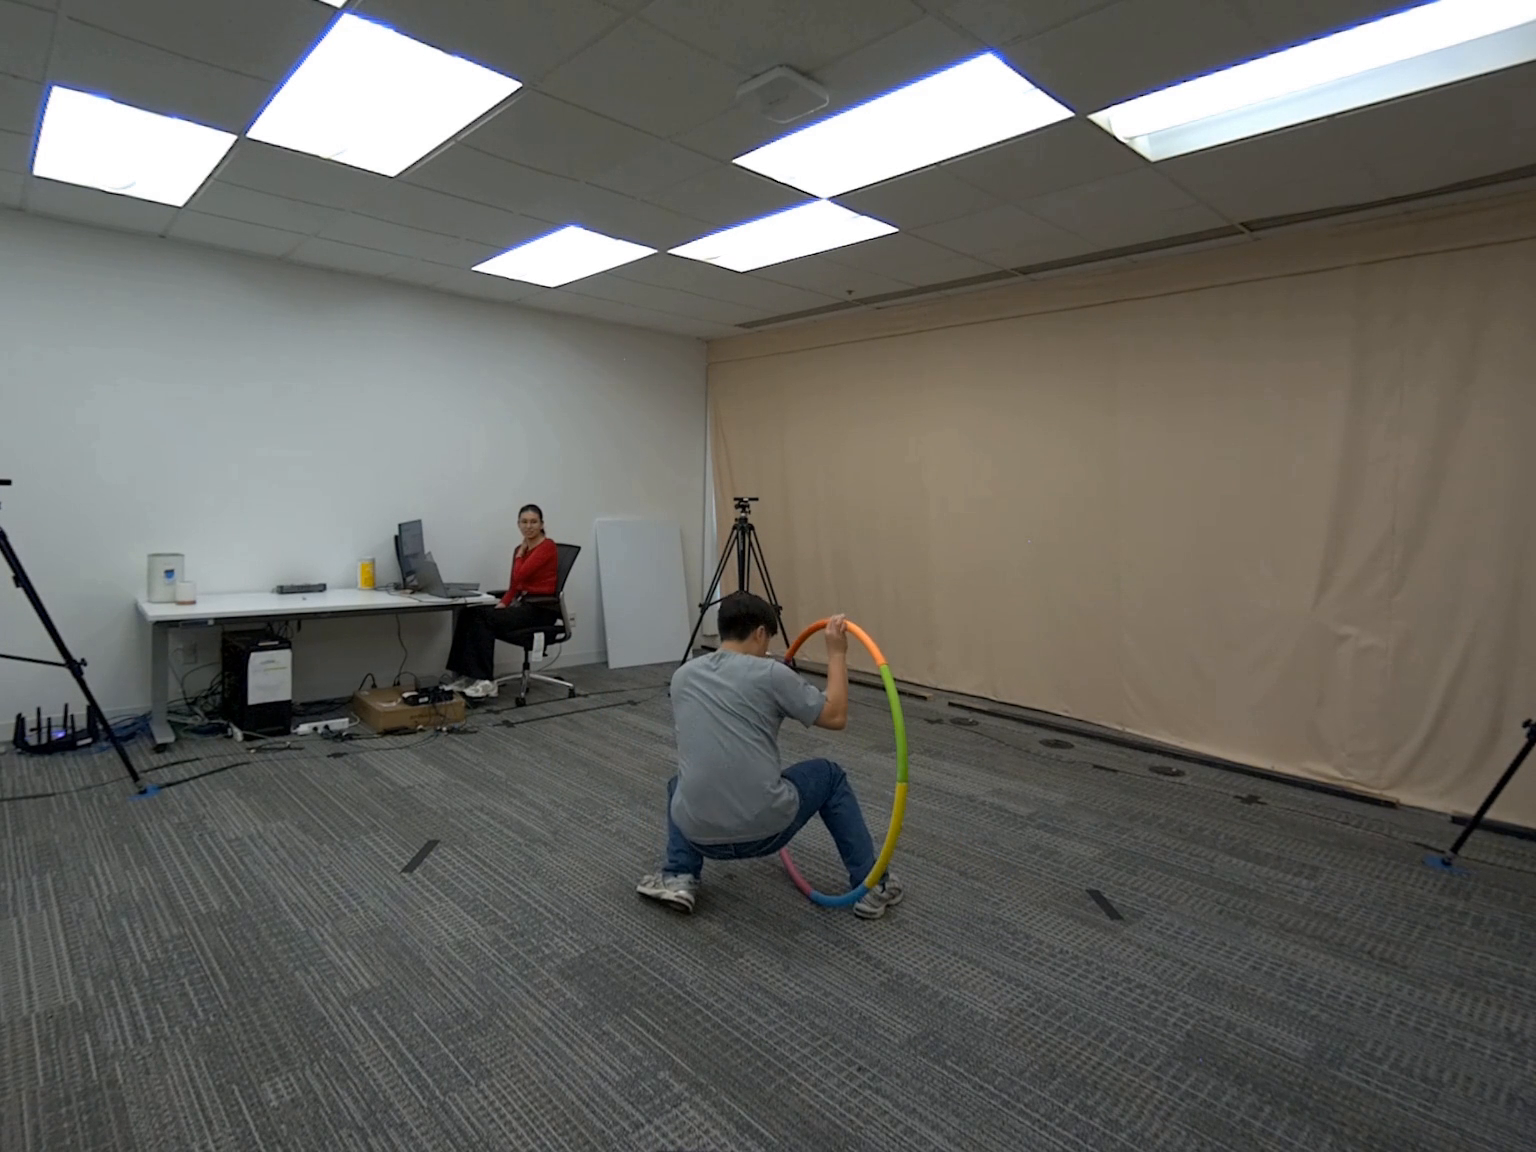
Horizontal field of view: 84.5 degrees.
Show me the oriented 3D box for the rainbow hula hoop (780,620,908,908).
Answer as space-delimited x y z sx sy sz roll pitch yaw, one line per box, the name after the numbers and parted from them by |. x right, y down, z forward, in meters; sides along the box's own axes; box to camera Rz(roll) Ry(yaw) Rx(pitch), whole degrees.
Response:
0.186 0.635 2.985 0.035 0.978 0.998 8 2 -24 | rainbow hula hoop
